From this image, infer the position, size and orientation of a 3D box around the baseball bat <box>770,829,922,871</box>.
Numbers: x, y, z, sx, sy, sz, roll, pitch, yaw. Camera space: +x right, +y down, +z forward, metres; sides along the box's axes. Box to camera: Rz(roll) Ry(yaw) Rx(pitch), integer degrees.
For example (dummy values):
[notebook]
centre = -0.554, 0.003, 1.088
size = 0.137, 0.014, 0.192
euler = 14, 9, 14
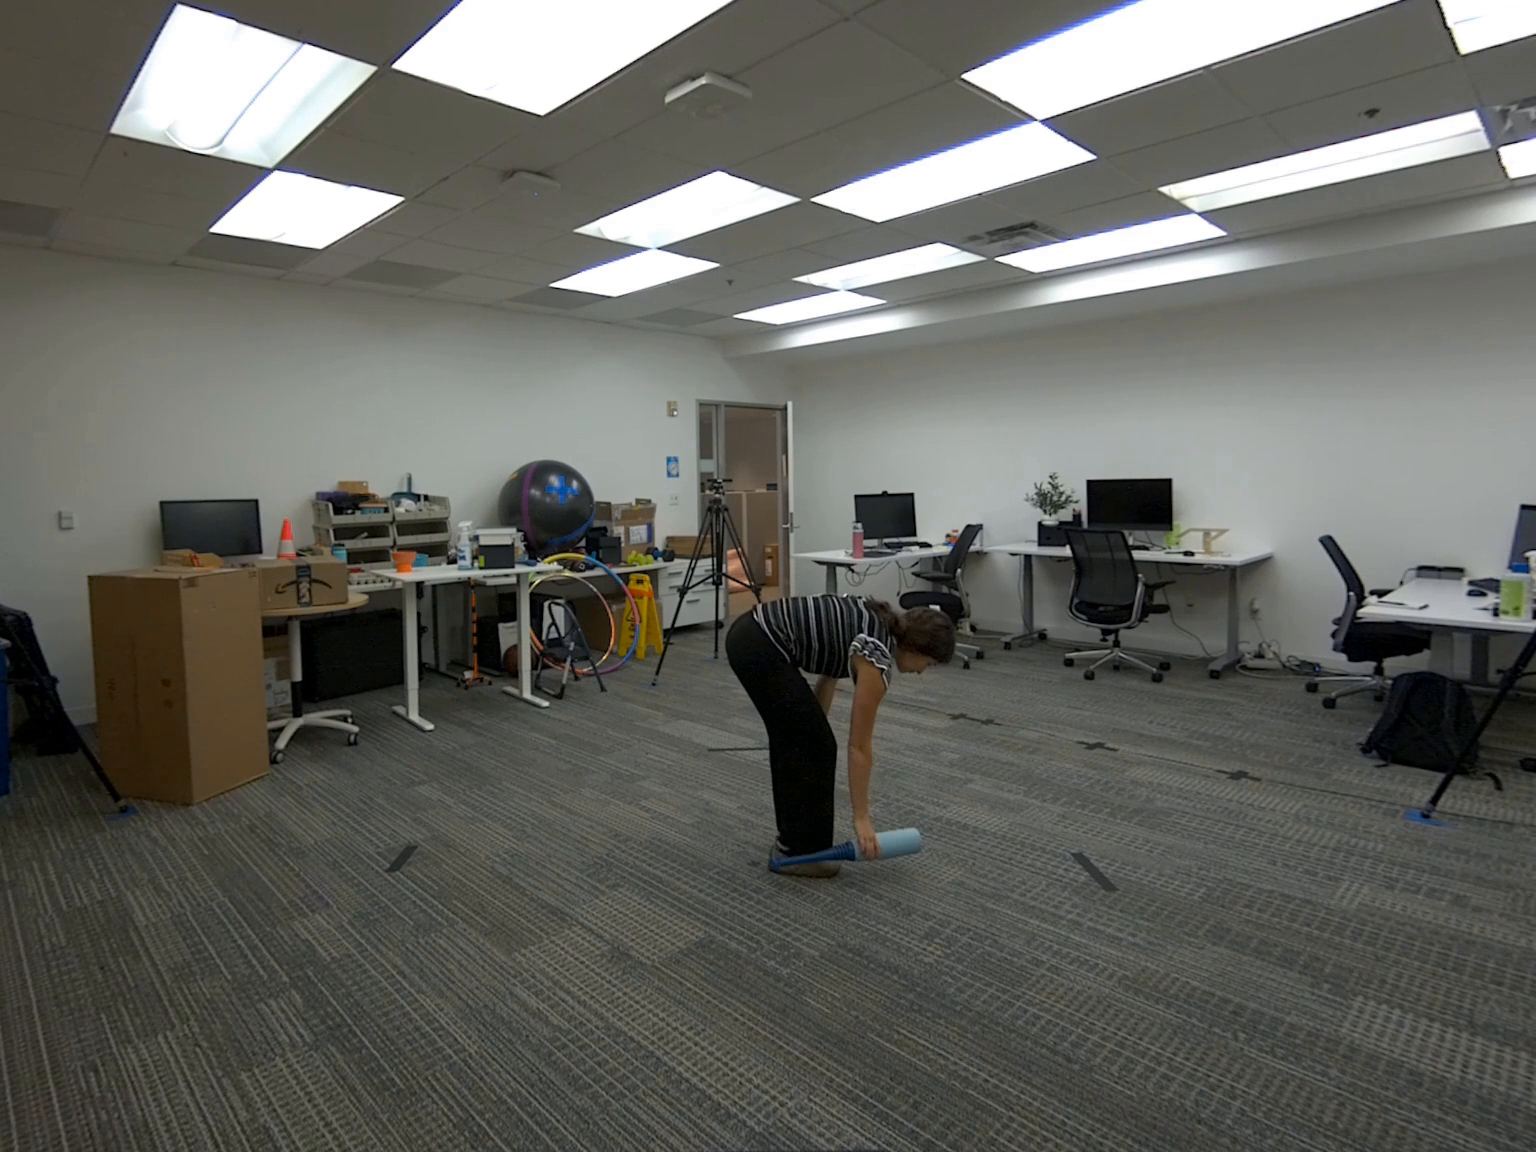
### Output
[baseball bat]
centre = 0.273, 0.950, 2.940
size = 0.539, 0.088, 0.090
euler = -7, 6, -9
